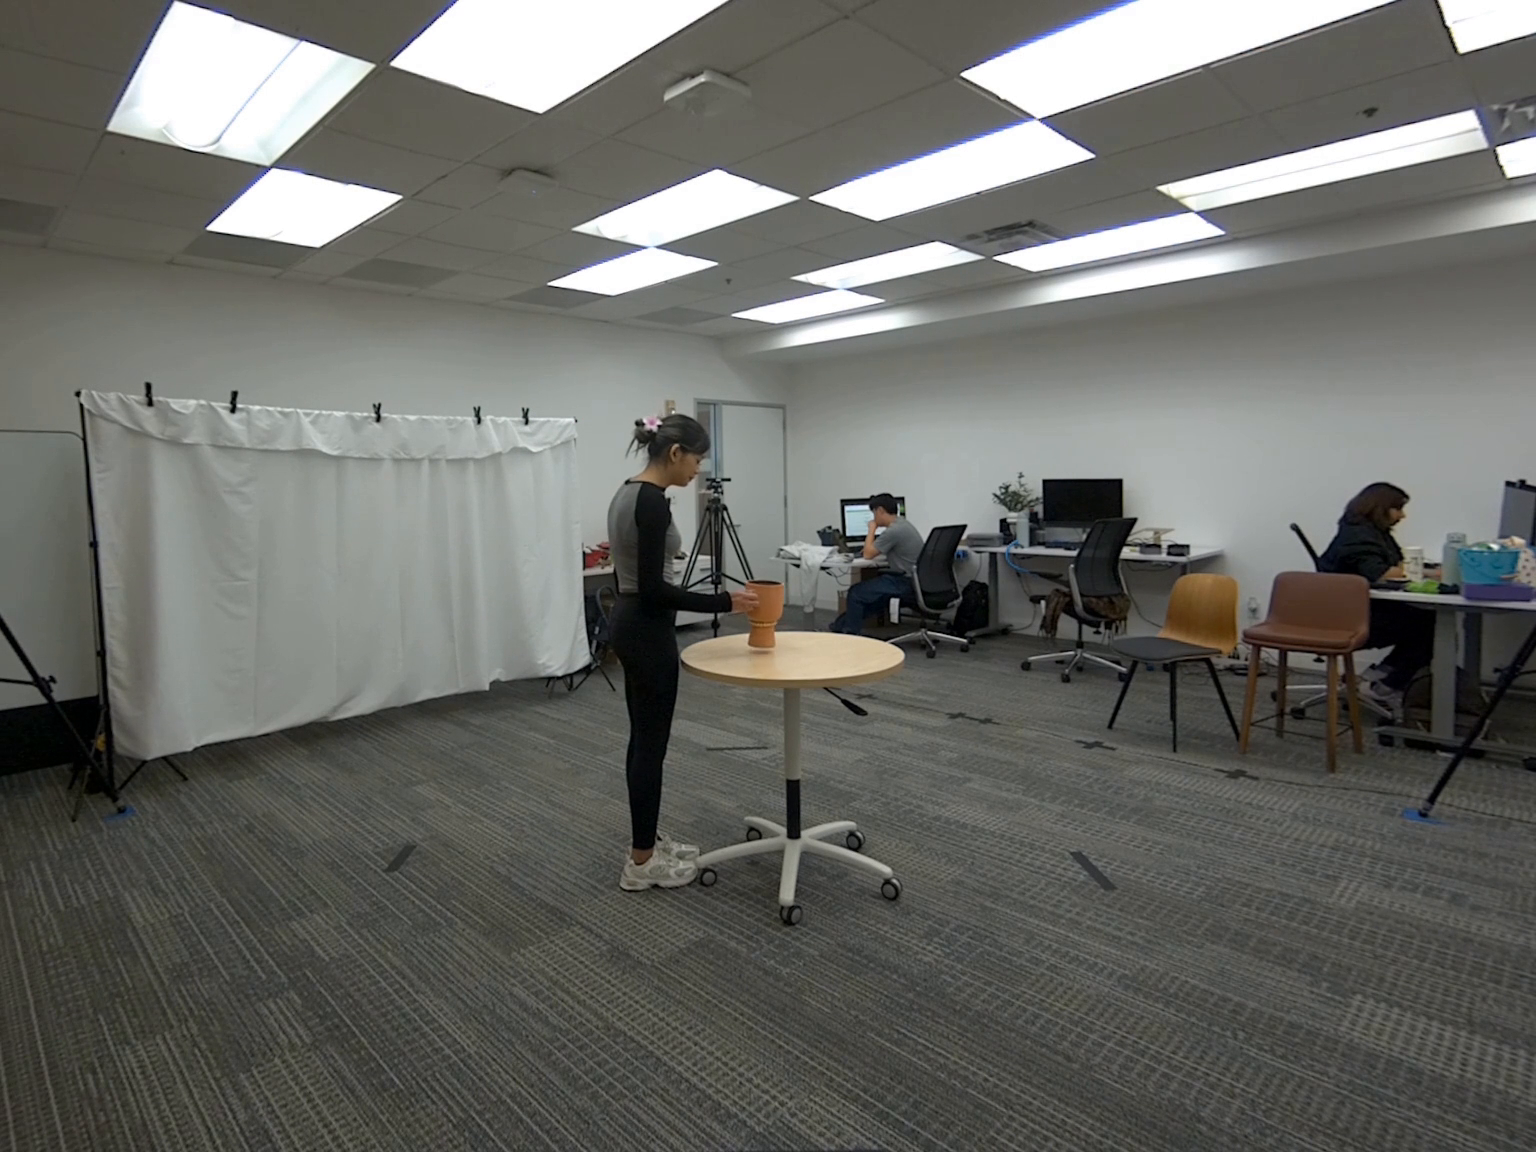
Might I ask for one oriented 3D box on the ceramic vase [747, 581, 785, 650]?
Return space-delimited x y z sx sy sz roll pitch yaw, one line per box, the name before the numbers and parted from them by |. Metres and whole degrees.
ceramic vase | -0.022 0.129 2.956 0.156 0.219 0.138 1 6 -19
